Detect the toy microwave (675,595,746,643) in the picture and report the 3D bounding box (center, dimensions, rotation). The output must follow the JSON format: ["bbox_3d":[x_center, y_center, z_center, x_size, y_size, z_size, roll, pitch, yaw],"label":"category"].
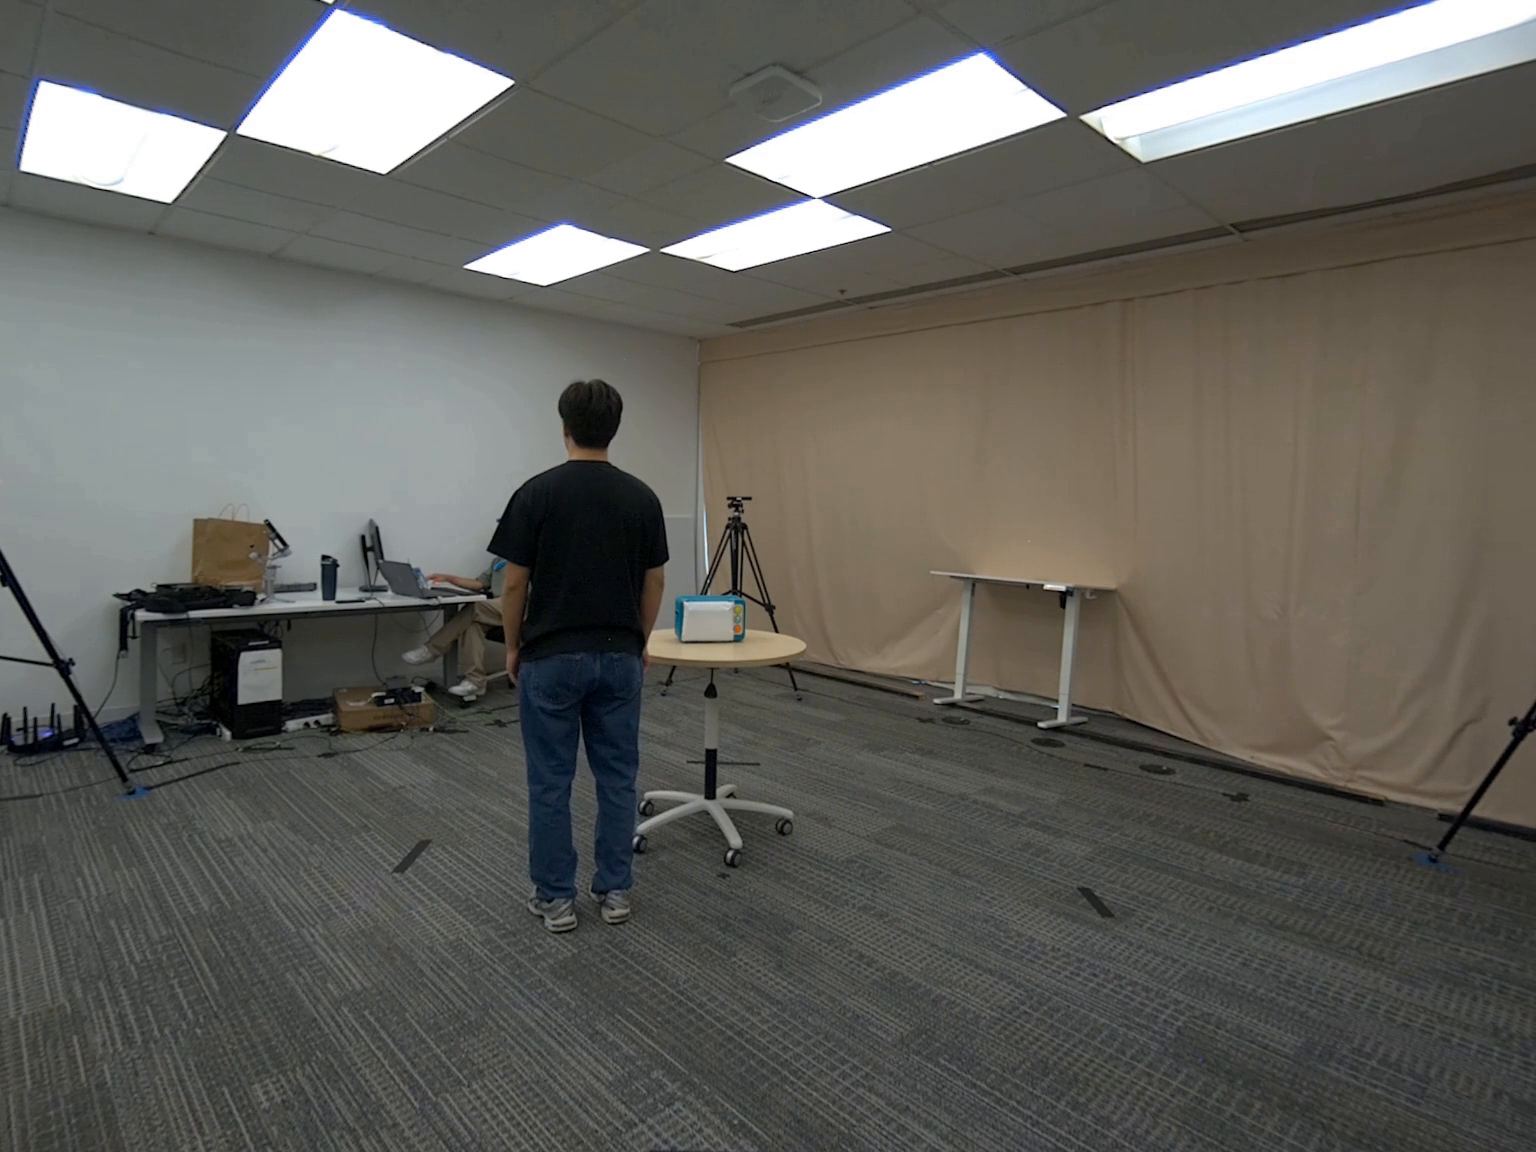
[{"bbox_3d":[-0.244,0.179,3.514,0.284,0.183,0.154,0,5,-10],"label":"toy microwave"}]
